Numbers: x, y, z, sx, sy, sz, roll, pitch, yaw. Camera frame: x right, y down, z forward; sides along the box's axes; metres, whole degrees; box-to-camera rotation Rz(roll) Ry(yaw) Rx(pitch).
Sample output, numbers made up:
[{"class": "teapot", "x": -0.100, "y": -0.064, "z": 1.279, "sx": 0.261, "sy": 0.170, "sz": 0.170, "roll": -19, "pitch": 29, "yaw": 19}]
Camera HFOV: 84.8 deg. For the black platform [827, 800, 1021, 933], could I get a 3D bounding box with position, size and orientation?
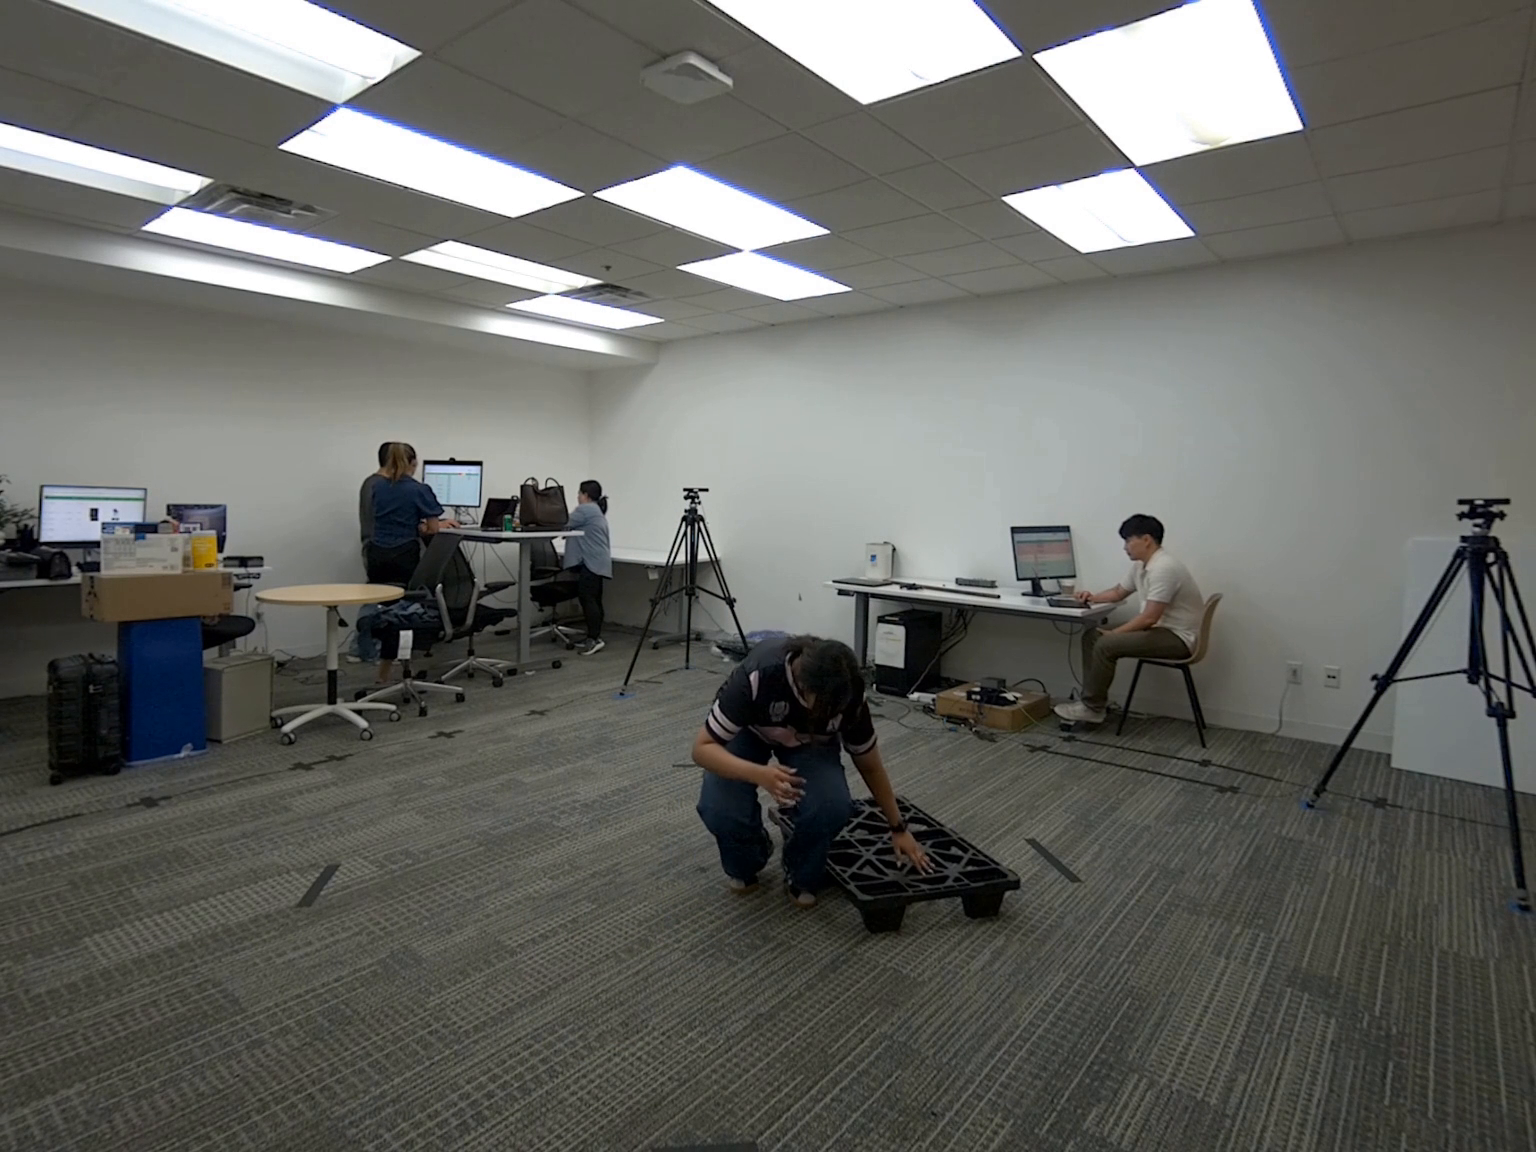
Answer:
[{"class": "black platform", "x": 0.415, "y": 1.020, "z": 3.087, "sx": 0.594, "sy": 0.143, "sz": 0.824, "roll": -1, "pitch": 6, "yaw": -20}]
